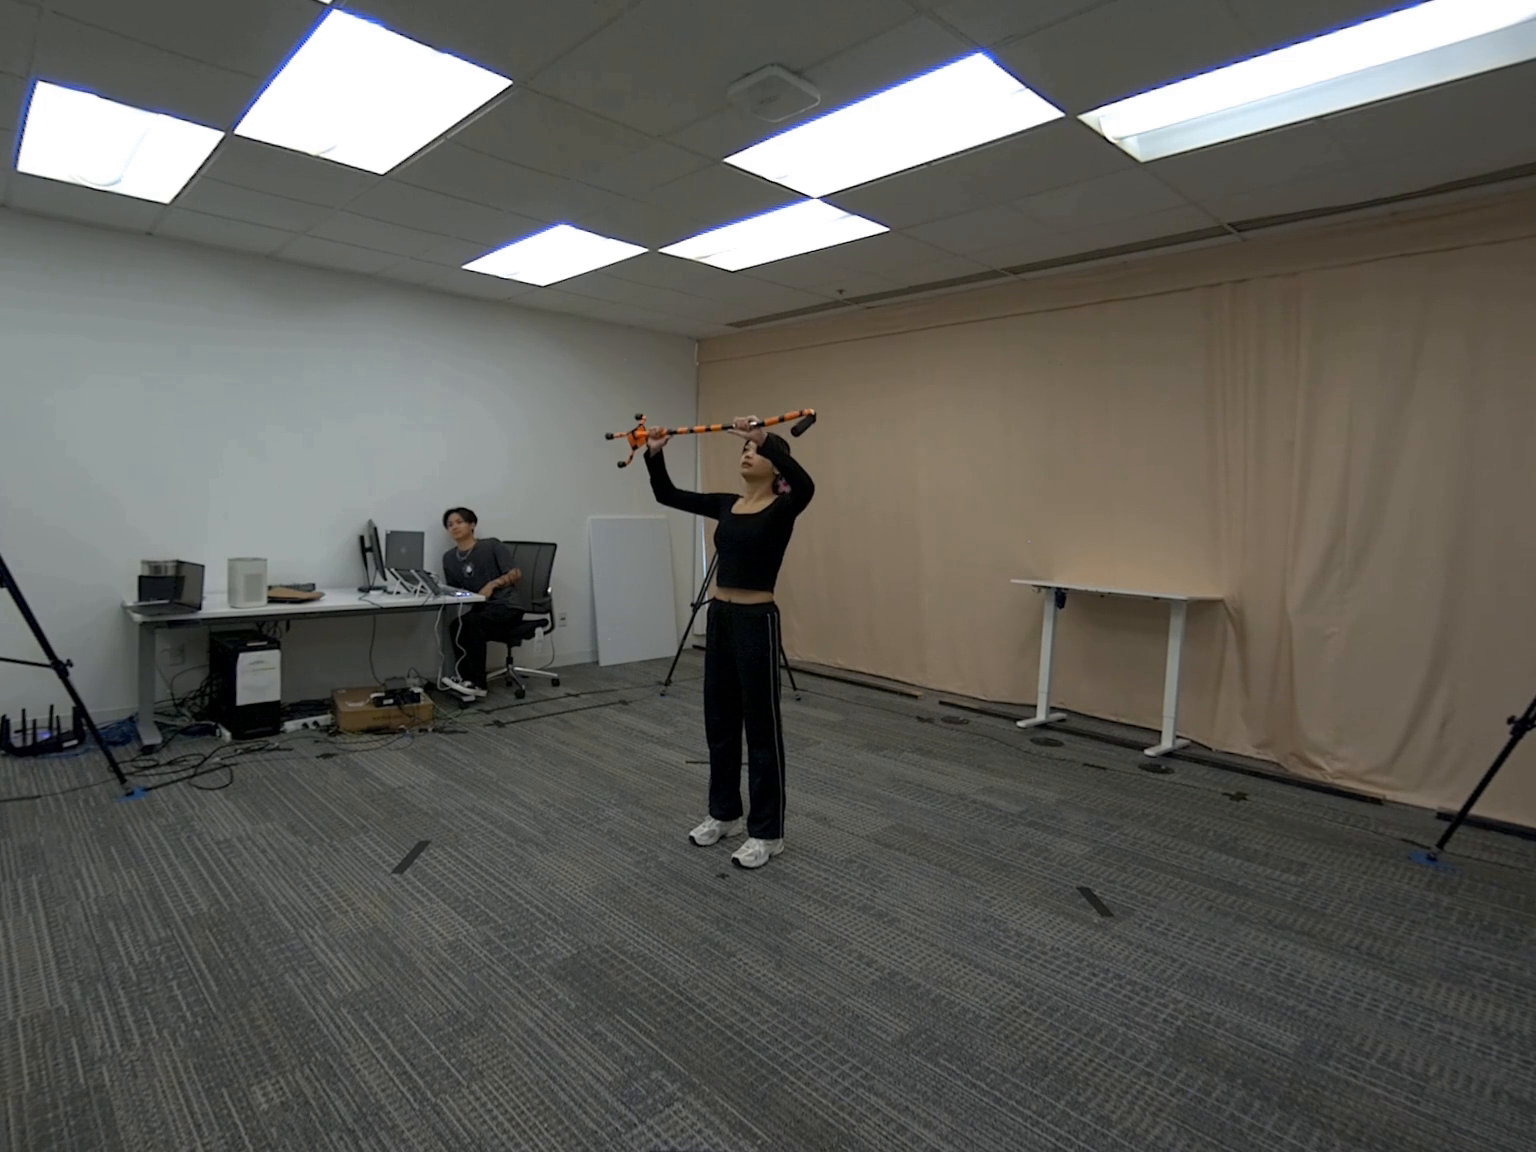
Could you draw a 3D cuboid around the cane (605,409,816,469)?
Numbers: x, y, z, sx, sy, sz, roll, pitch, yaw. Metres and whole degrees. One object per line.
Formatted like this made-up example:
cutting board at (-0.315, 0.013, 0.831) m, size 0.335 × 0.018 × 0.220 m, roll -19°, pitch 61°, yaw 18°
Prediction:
cane at (-0.202, -0.515, 3.022) m, size 0.930 × 0.148 × 0.206 m, roll 3°, pitch 35°, yaw 41°
